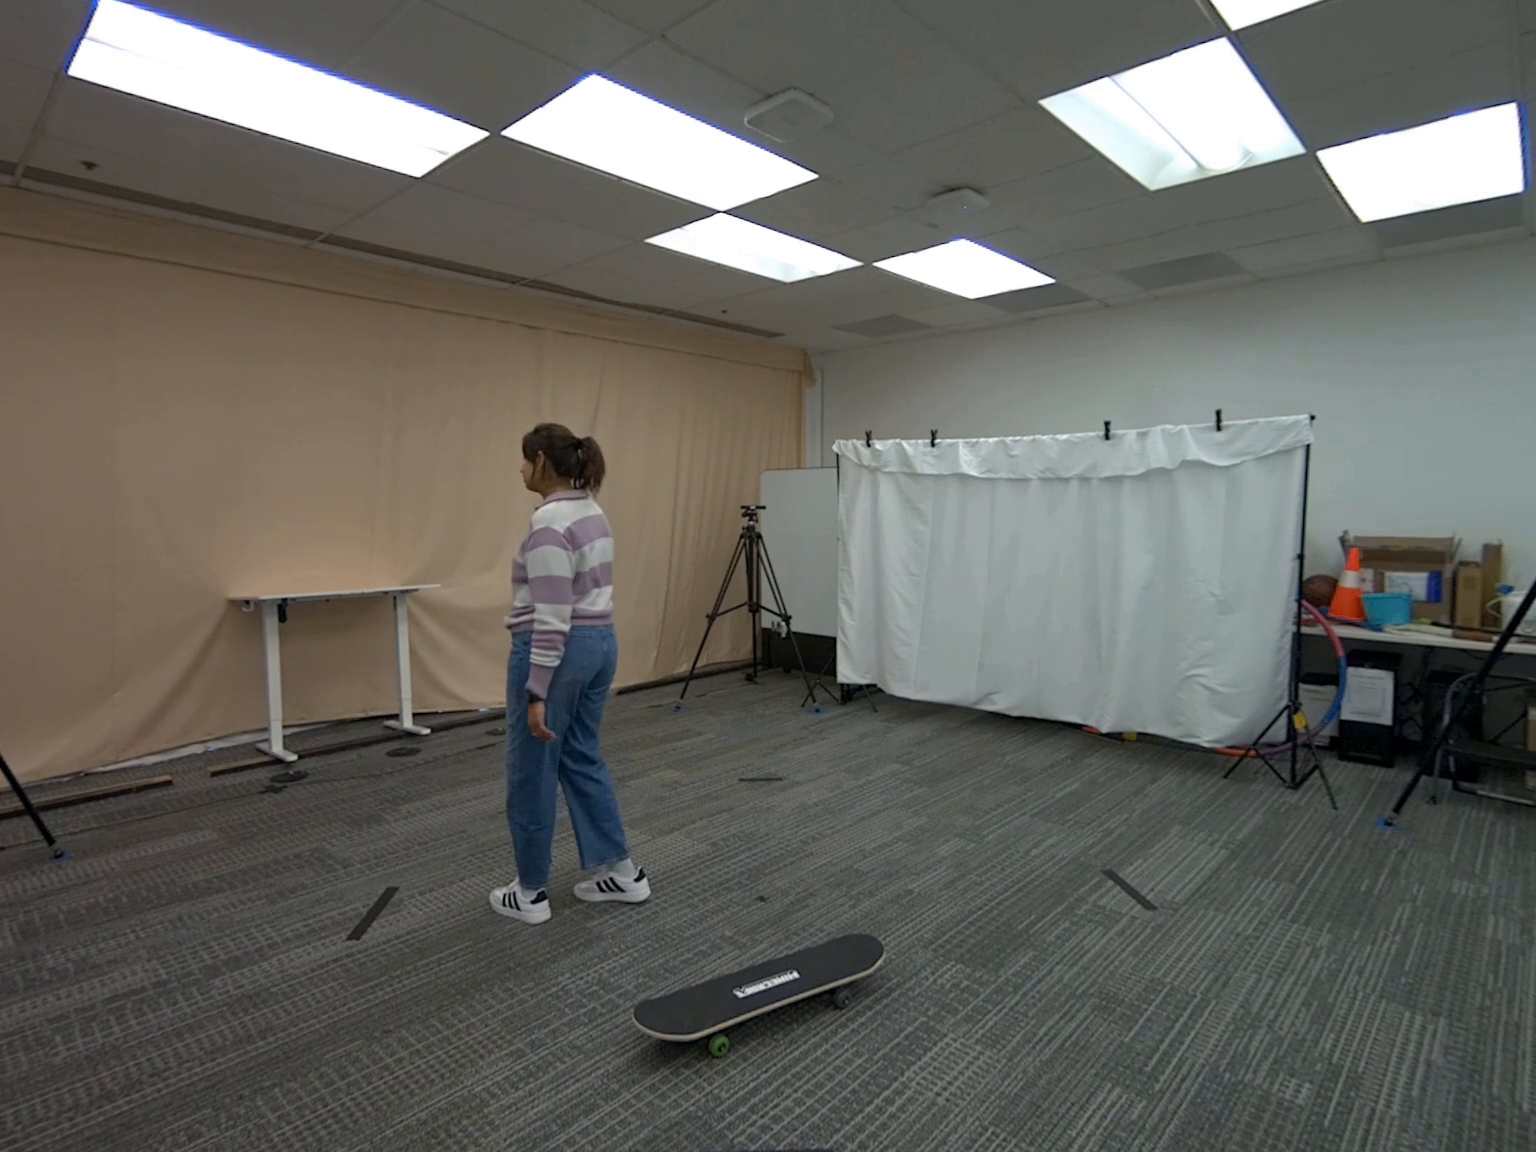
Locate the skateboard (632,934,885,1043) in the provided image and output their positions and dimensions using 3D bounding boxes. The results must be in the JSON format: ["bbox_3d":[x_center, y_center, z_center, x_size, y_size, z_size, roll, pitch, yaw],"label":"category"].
[{"bbox_3d":[-0.001,1.144,2.300,0.764,0.110,0.199,-3,4,-31],"label":"skateboard"}]
